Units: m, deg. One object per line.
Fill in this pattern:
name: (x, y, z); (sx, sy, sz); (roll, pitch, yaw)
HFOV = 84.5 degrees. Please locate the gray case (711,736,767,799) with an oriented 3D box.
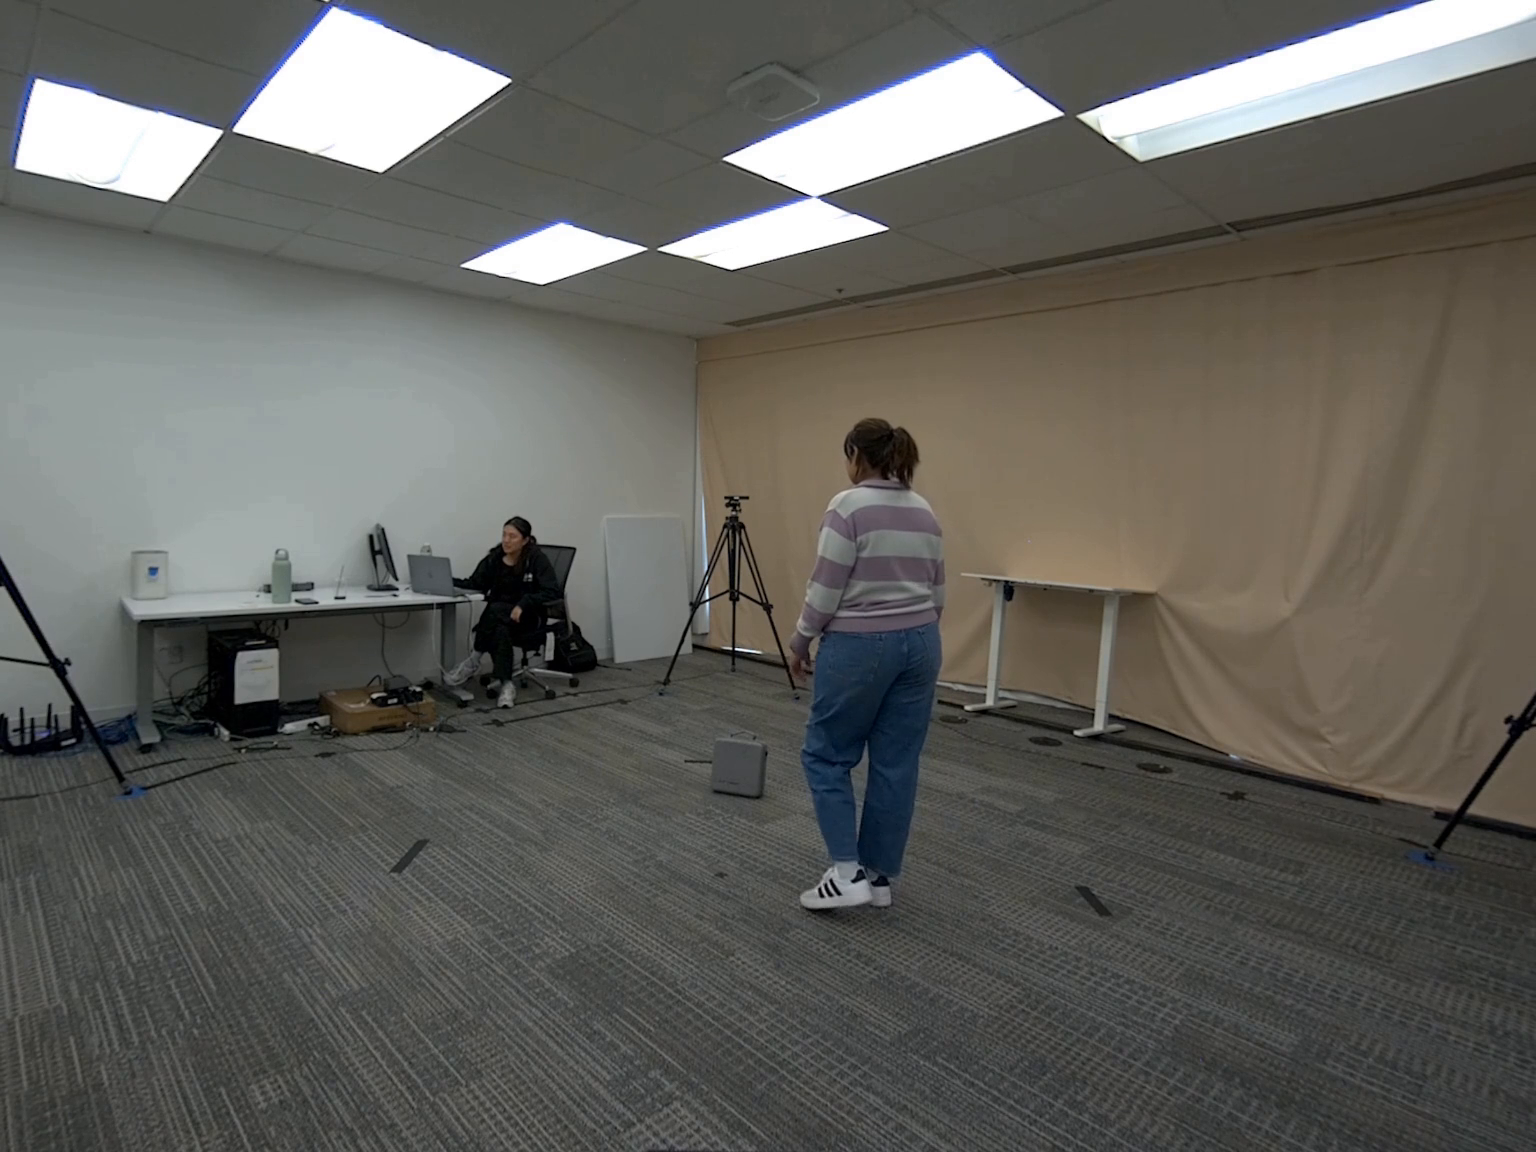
gray case: (-0.150, 0.888, 3.987); (0.261, 0.261, 0.102); (5, -2, 21)
